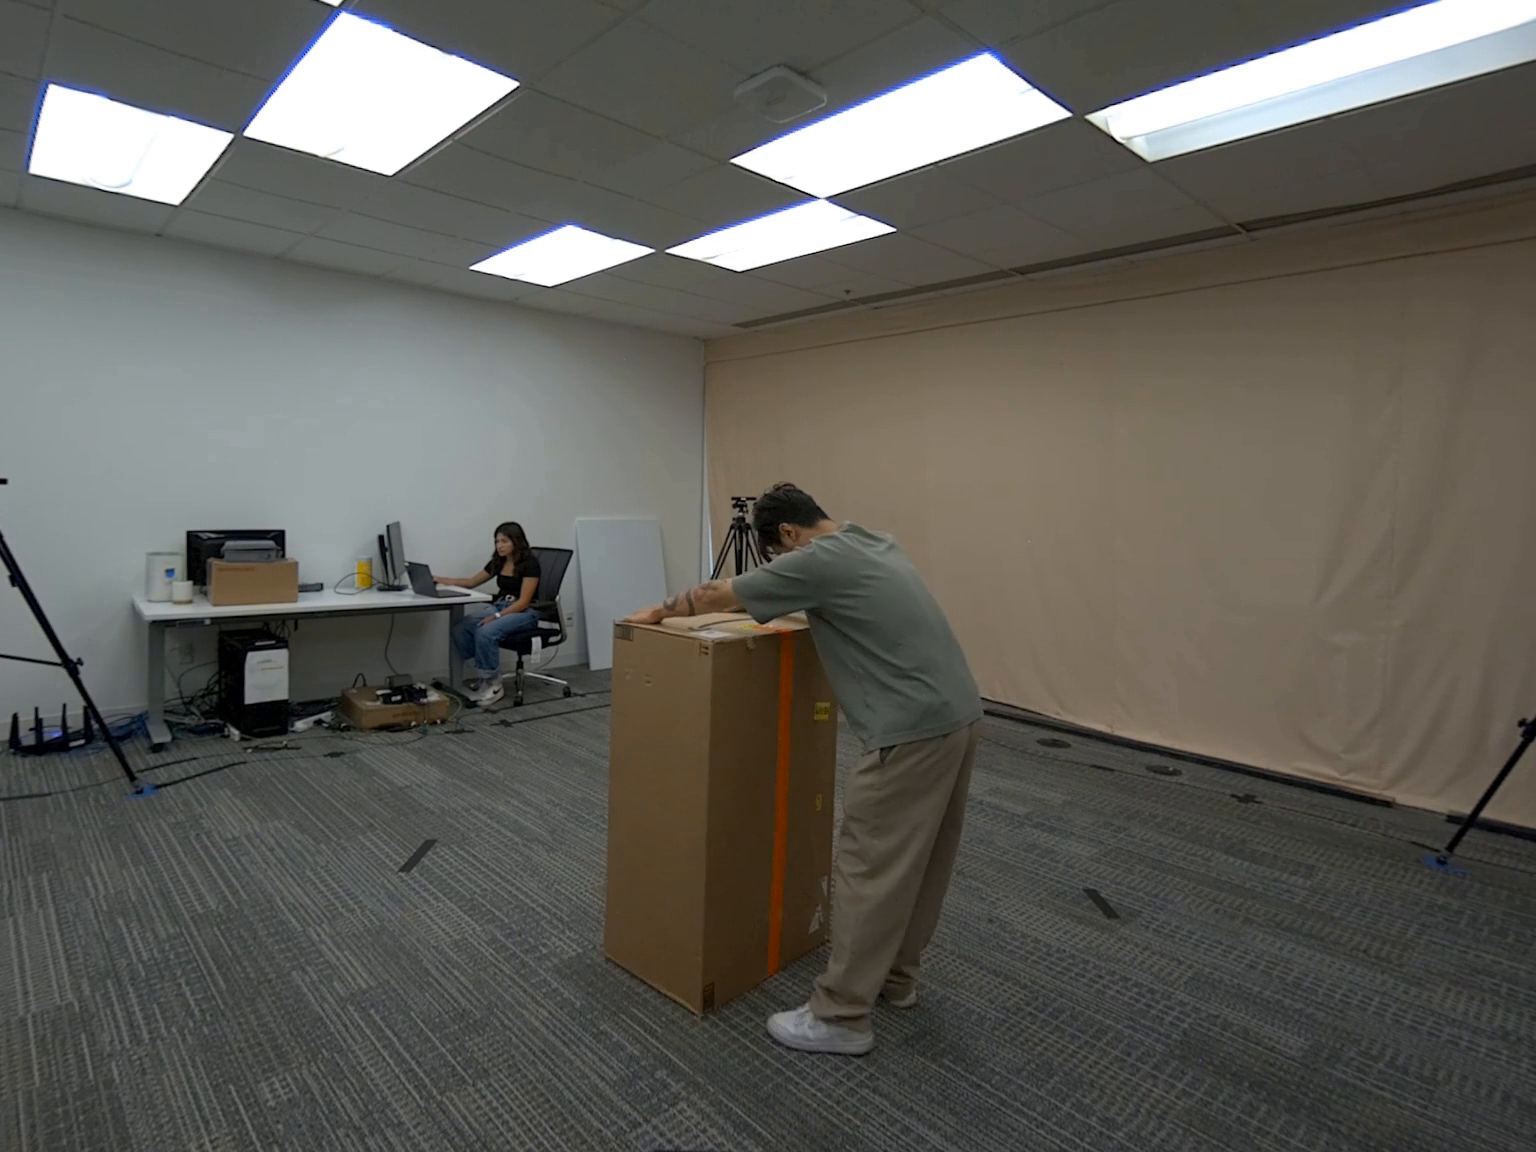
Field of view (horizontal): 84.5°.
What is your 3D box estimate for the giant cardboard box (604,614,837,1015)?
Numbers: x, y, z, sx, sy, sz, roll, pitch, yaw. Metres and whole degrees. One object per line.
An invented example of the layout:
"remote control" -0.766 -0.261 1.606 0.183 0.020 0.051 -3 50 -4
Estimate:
"giant cardboard box" -0.136 0.647 2.575 0.437 1.023 0.564 5 5 42
